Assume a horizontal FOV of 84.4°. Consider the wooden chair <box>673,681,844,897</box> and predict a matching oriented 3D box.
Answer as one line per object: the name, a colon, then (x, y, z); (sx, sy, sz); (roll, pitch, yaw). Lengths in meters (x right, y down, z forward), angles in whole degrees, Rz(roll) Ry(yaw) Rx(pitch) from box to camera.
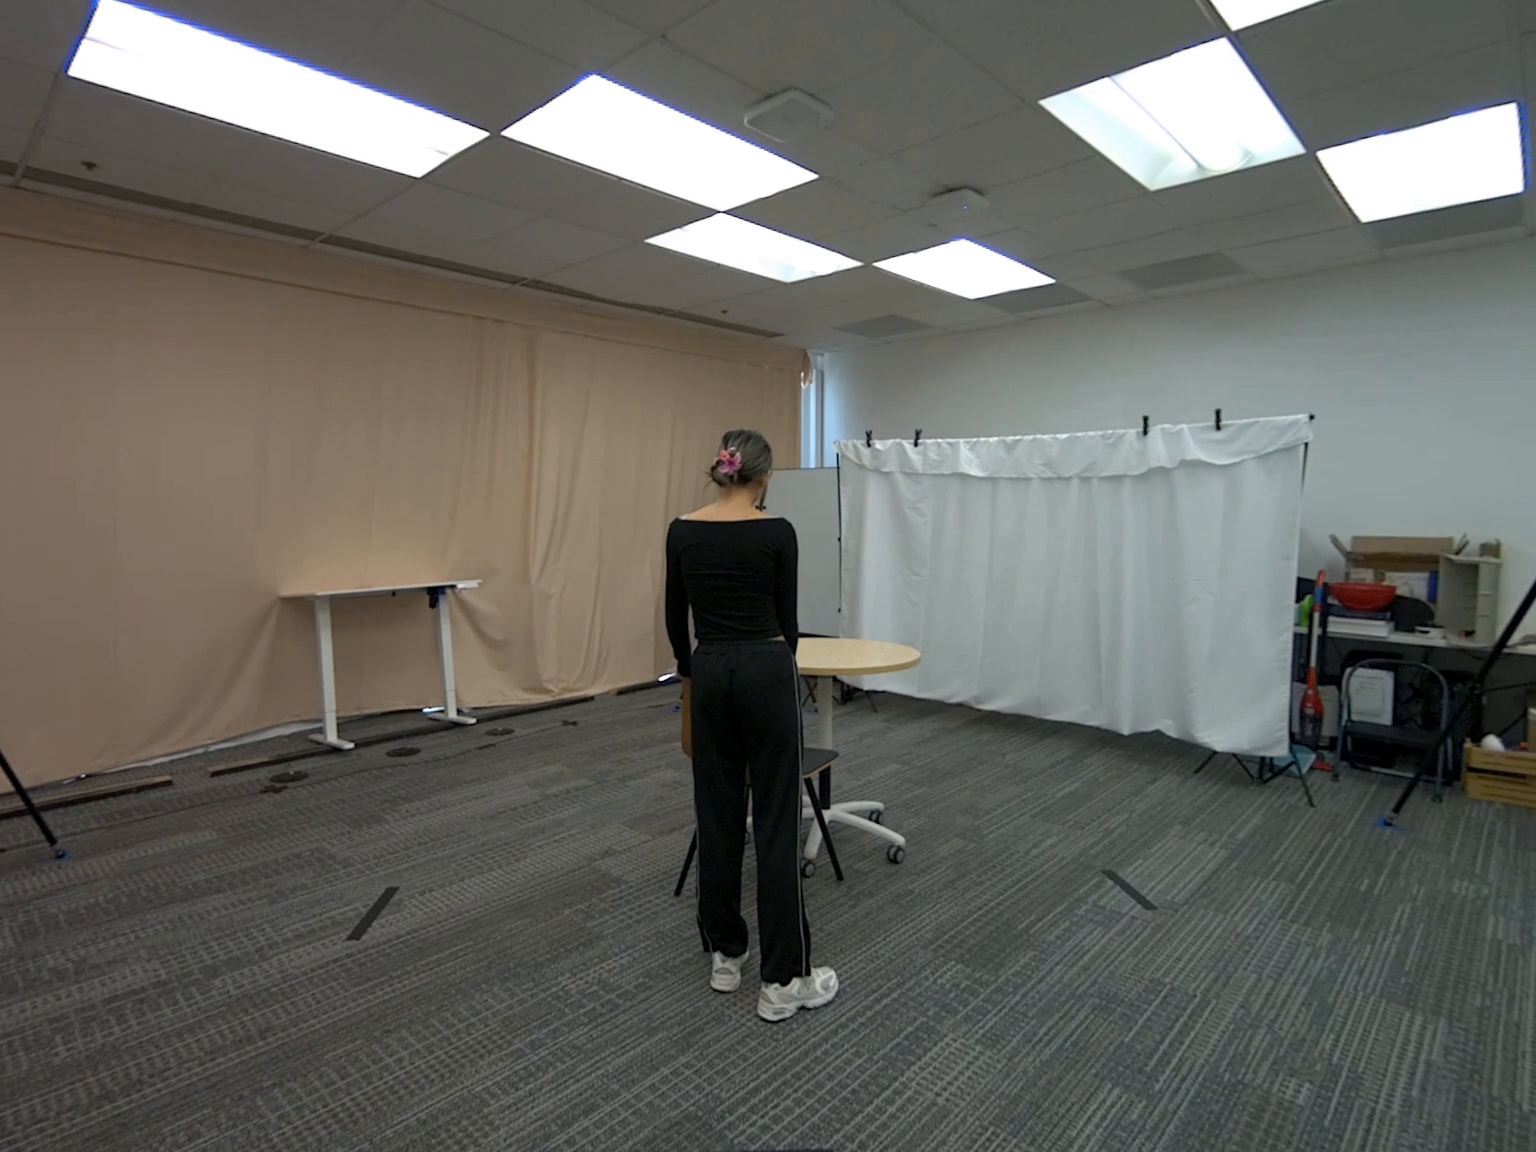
wooden chair: (-0.024, 0.709, 3.043); (0.493, 0.873, 0.510); (2, 8, 33)
